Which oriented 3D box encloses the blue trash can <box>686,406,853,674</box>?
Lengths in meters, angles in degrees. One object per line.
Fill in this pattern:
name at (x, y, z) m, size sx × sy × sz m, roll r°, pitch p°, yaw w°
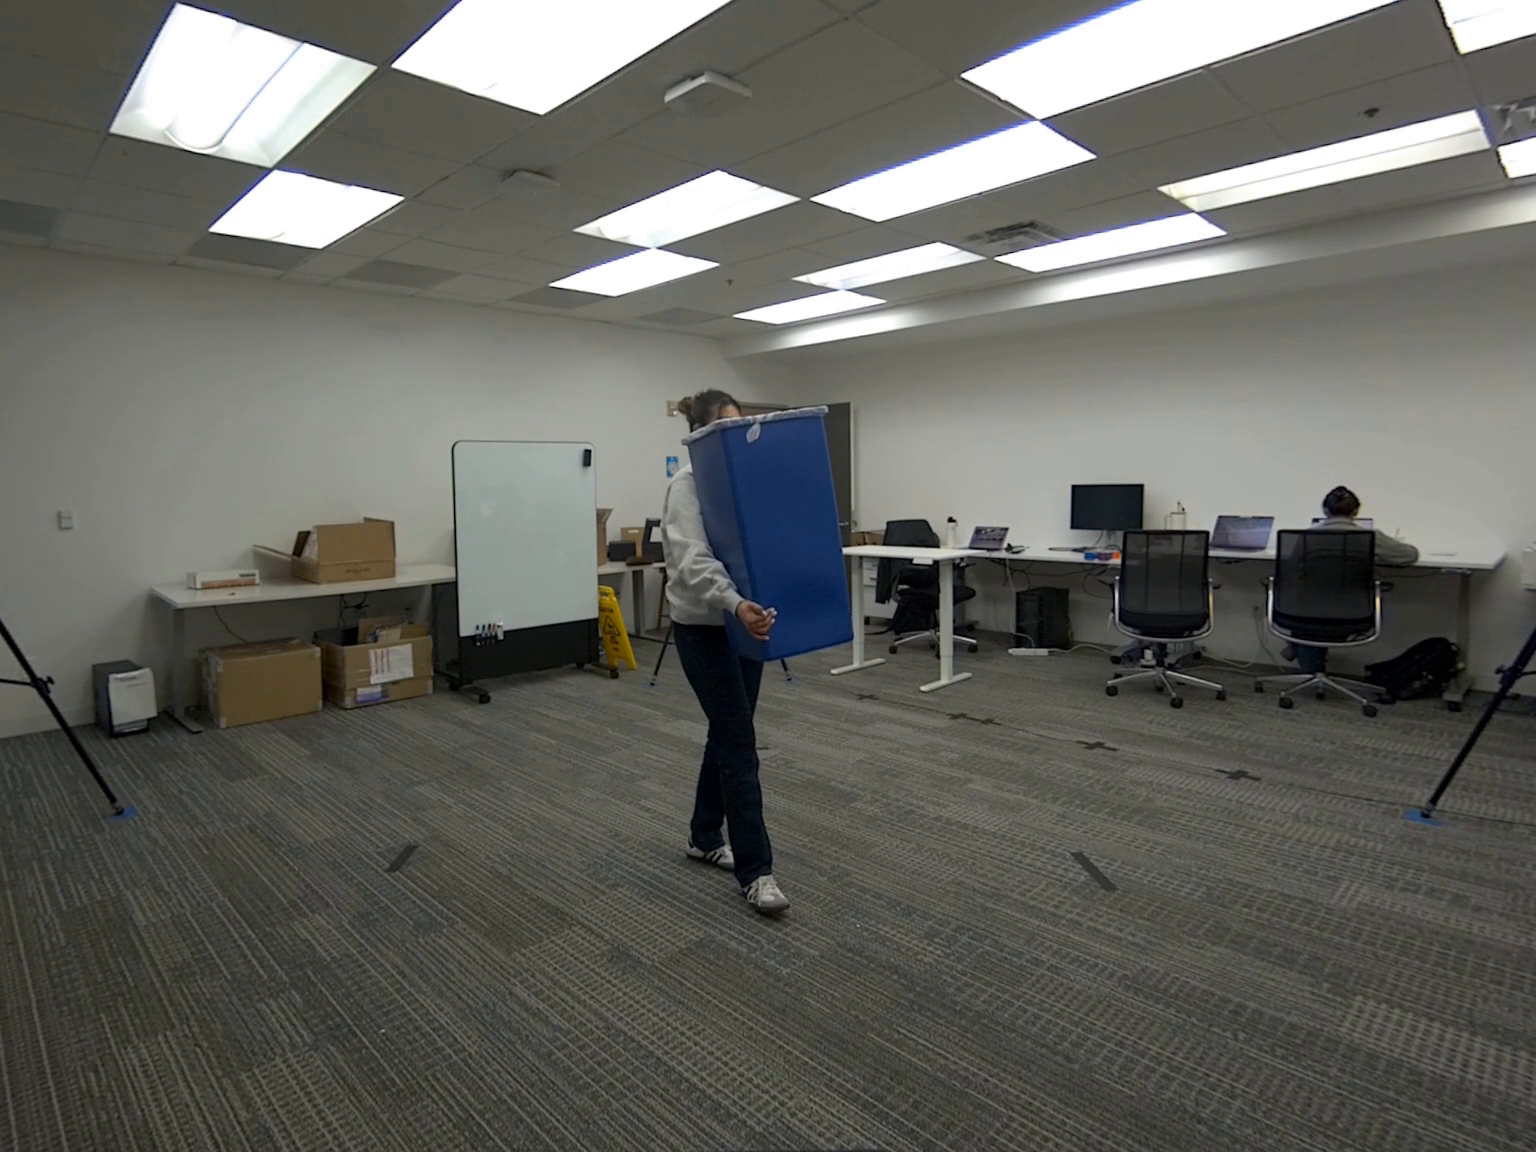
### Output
blue trash can at (0.006, -0.132, 2.668) m, size 0.372 × 0.712 × 0.380 m, roll -10°, pitch 2°, yaw -21°
